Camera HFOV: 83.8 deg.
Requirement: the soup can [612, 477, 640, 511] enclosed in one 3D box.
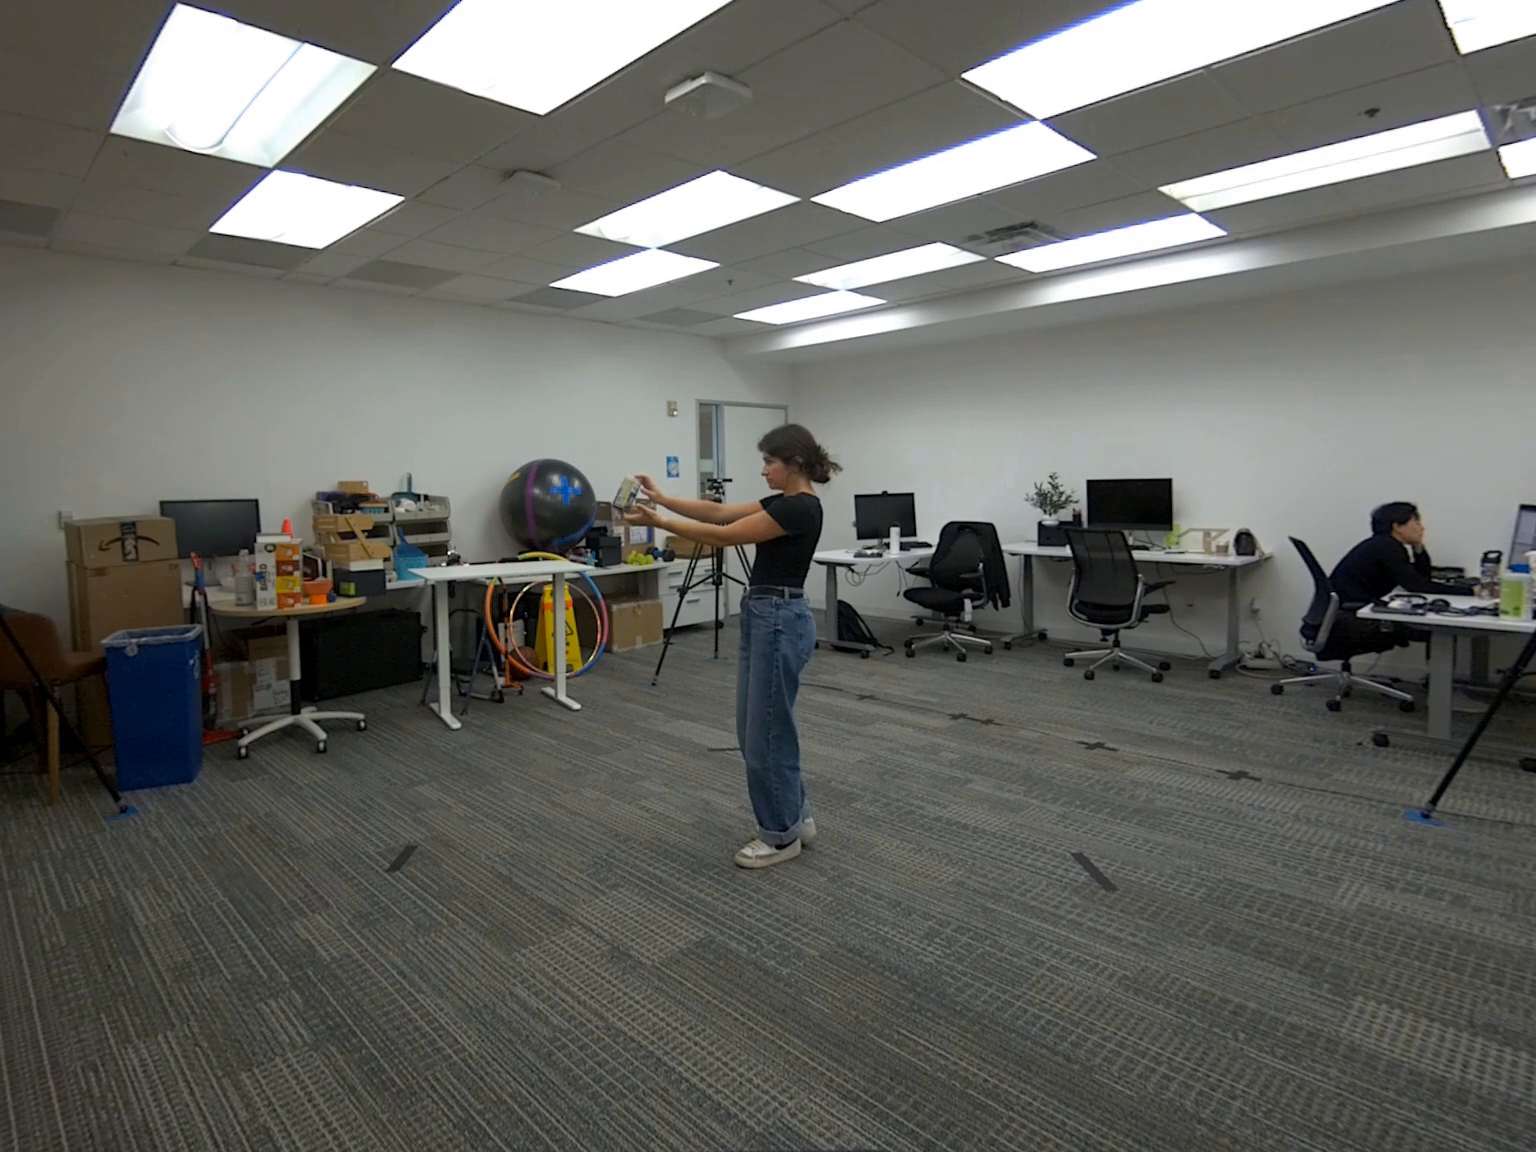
[{"bbox_3d":[-0.495,-0.294,3.031,0.067,0.122,0.067,15,-8,0],"label":"soup can"}]
